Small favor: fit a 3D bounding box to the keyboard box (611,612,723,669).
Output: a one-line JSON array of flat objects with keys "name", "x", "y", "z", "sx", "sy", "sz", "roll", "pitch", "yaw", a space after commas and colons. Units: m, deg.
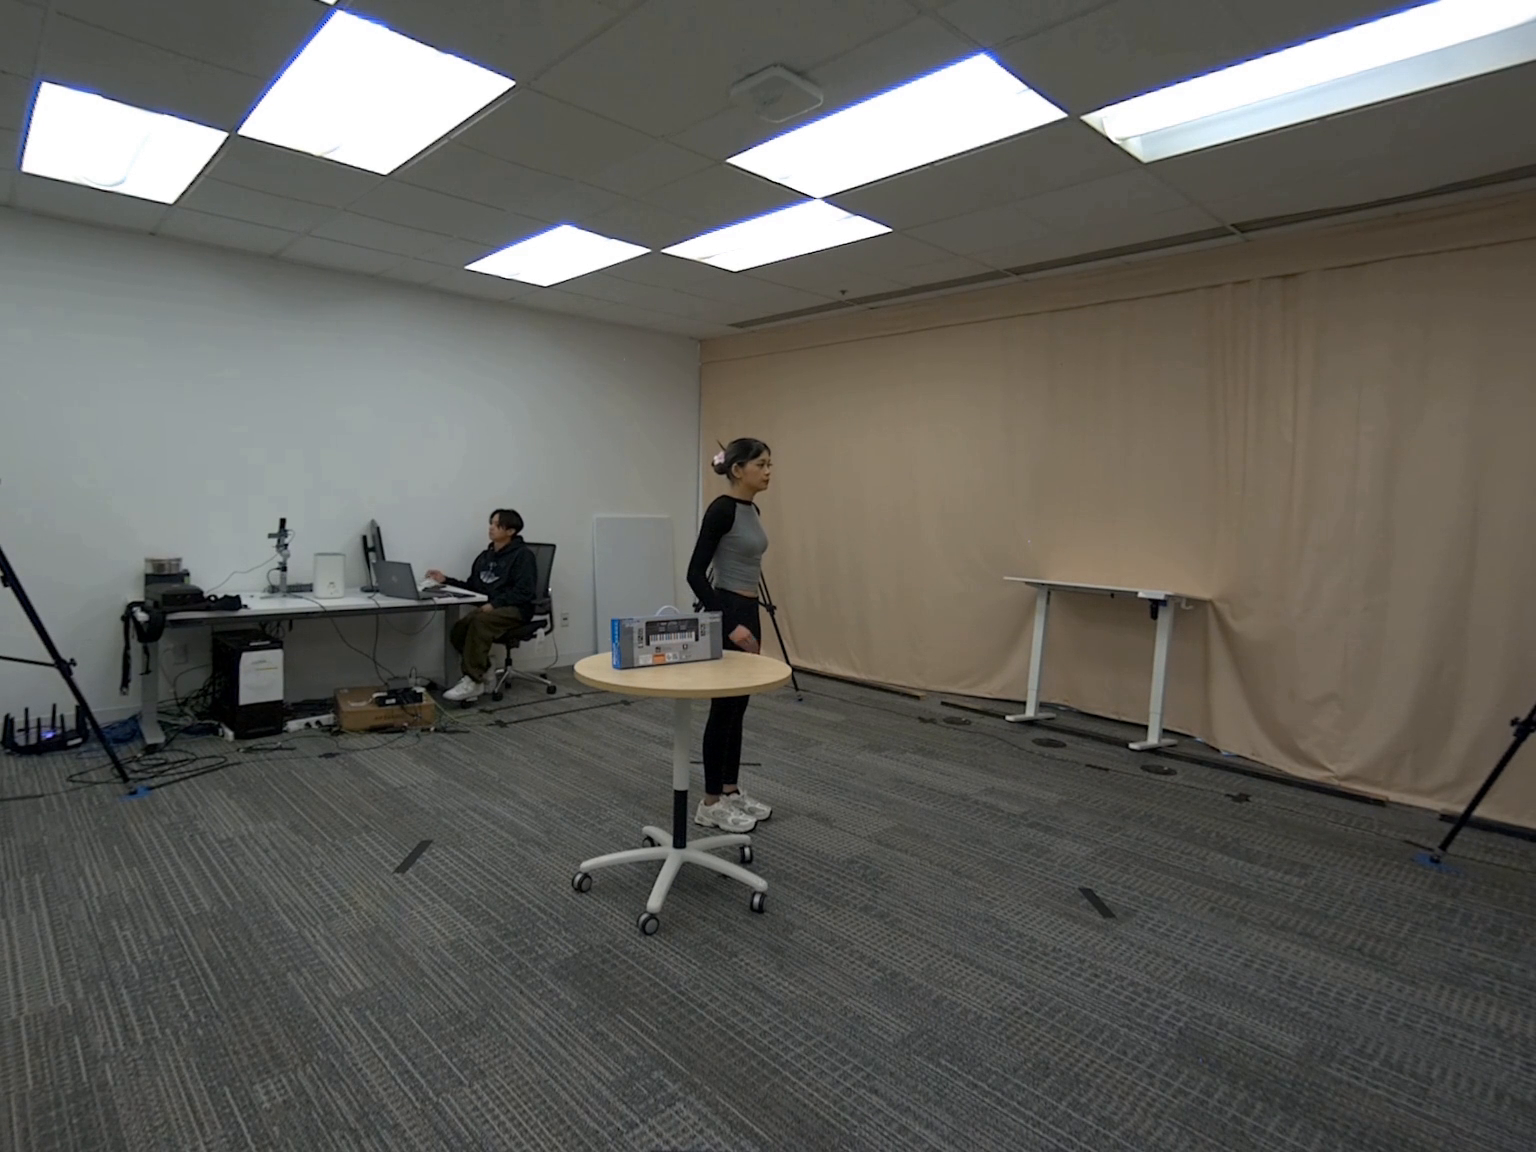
[{"name": "keyboard box", "x": -0.364, "y": 0.230, "z": 3.030, "sx": 0.427, "sy": 0.176, "sz": 0.060, "roll": -1, "pitch": -1, "yaw": -37}]
